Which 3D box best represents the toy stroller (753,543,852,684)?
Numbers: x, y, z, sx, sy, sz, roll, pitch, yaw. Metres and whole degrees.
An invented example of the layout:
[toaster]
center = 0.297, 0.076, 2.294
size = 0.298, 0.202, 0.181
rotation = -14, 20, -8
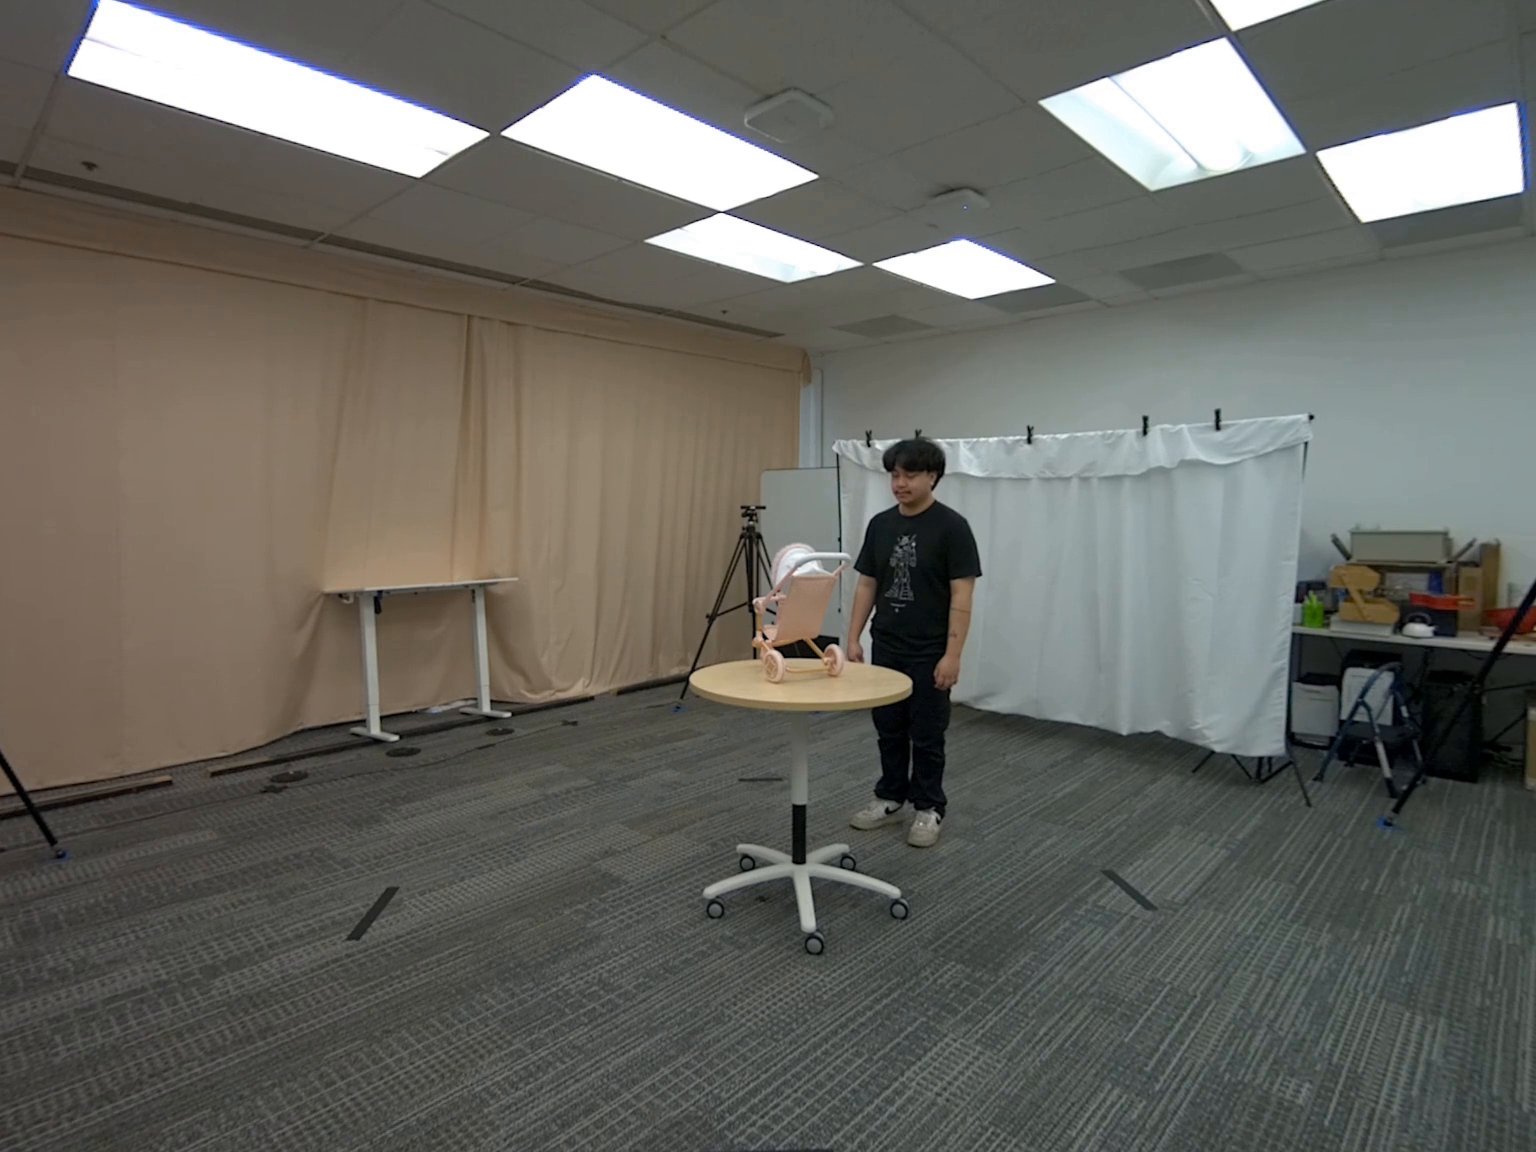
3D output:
[toy stroller]
center = 0.096, 0.126, 2.956
size = 0.275, 0.531, 0.352
rotation = 0, 17, -25
